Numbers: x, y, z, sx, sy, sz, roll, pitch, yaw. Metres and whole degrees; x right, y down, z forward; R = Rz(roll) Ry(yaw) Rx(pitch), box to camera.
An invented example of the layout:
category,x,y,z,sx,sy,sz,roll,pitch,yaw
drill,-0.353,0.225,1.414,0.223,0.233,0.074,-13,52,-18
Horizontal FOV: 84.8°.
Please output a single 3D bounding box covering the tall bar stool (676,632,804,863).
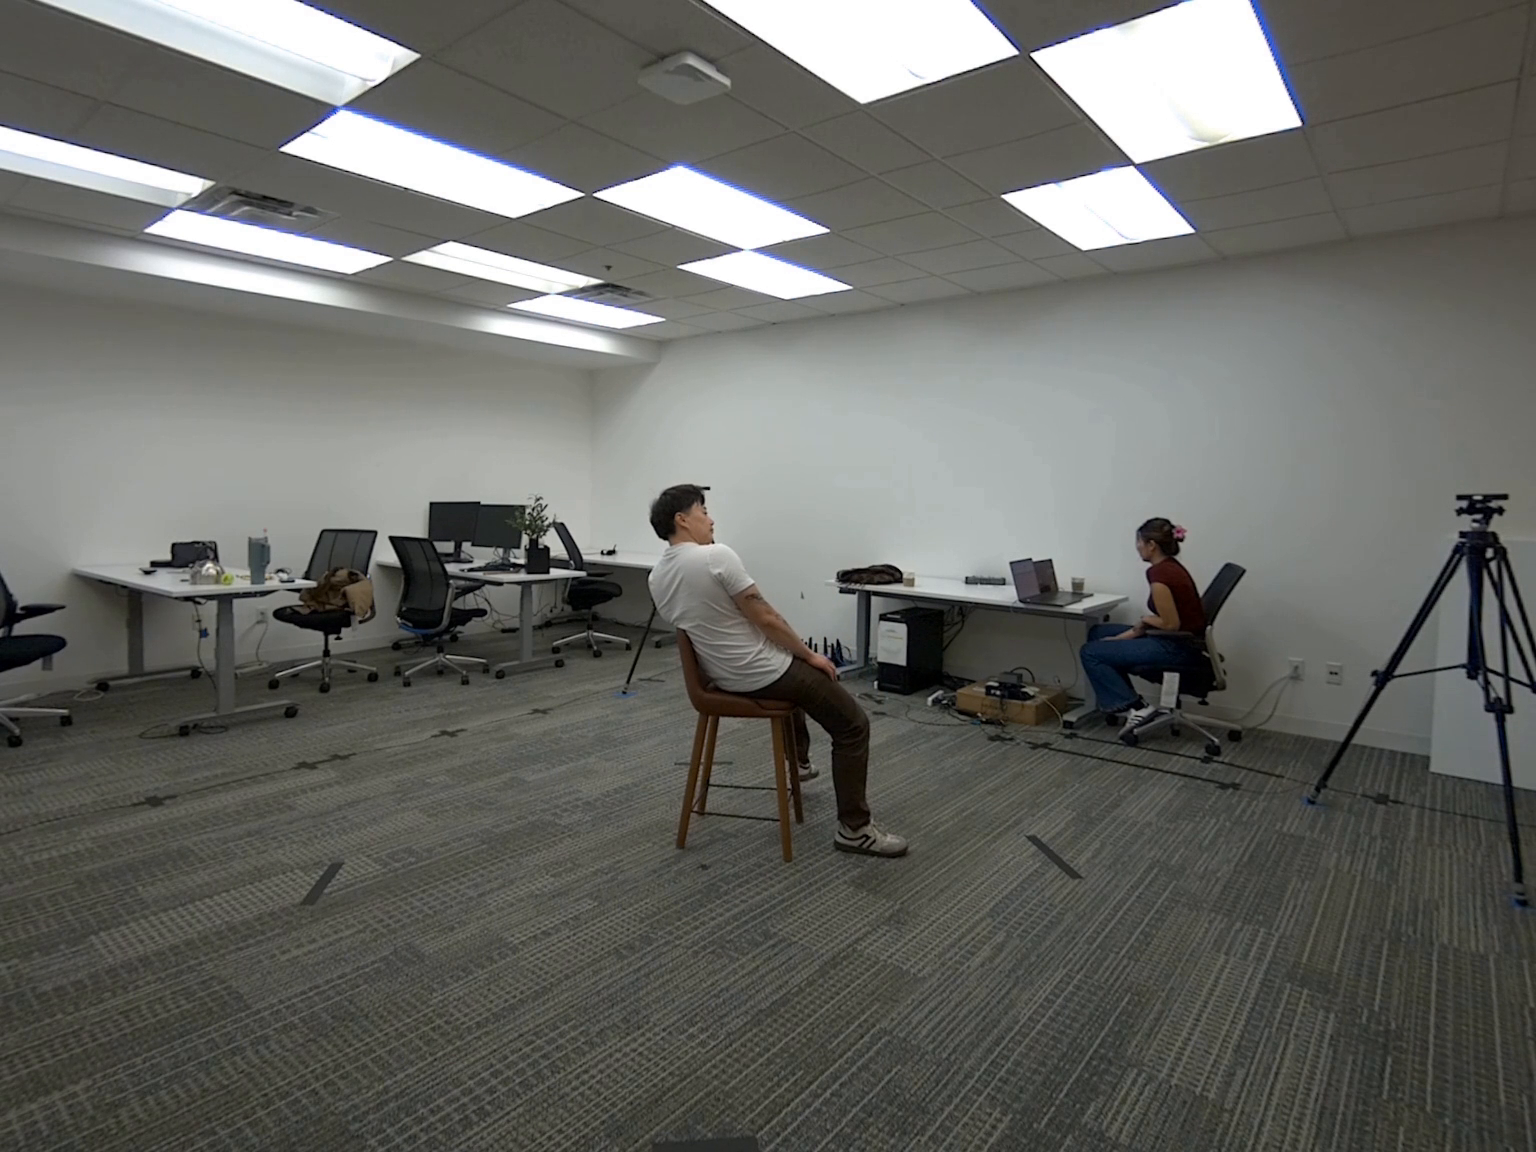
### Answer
category,x,y,z,sx,sy,sz,roll,pitch,yaw
tall bar stool,-0.112,0.611,3.398,0.474,0.888,0.451,0,2,11
